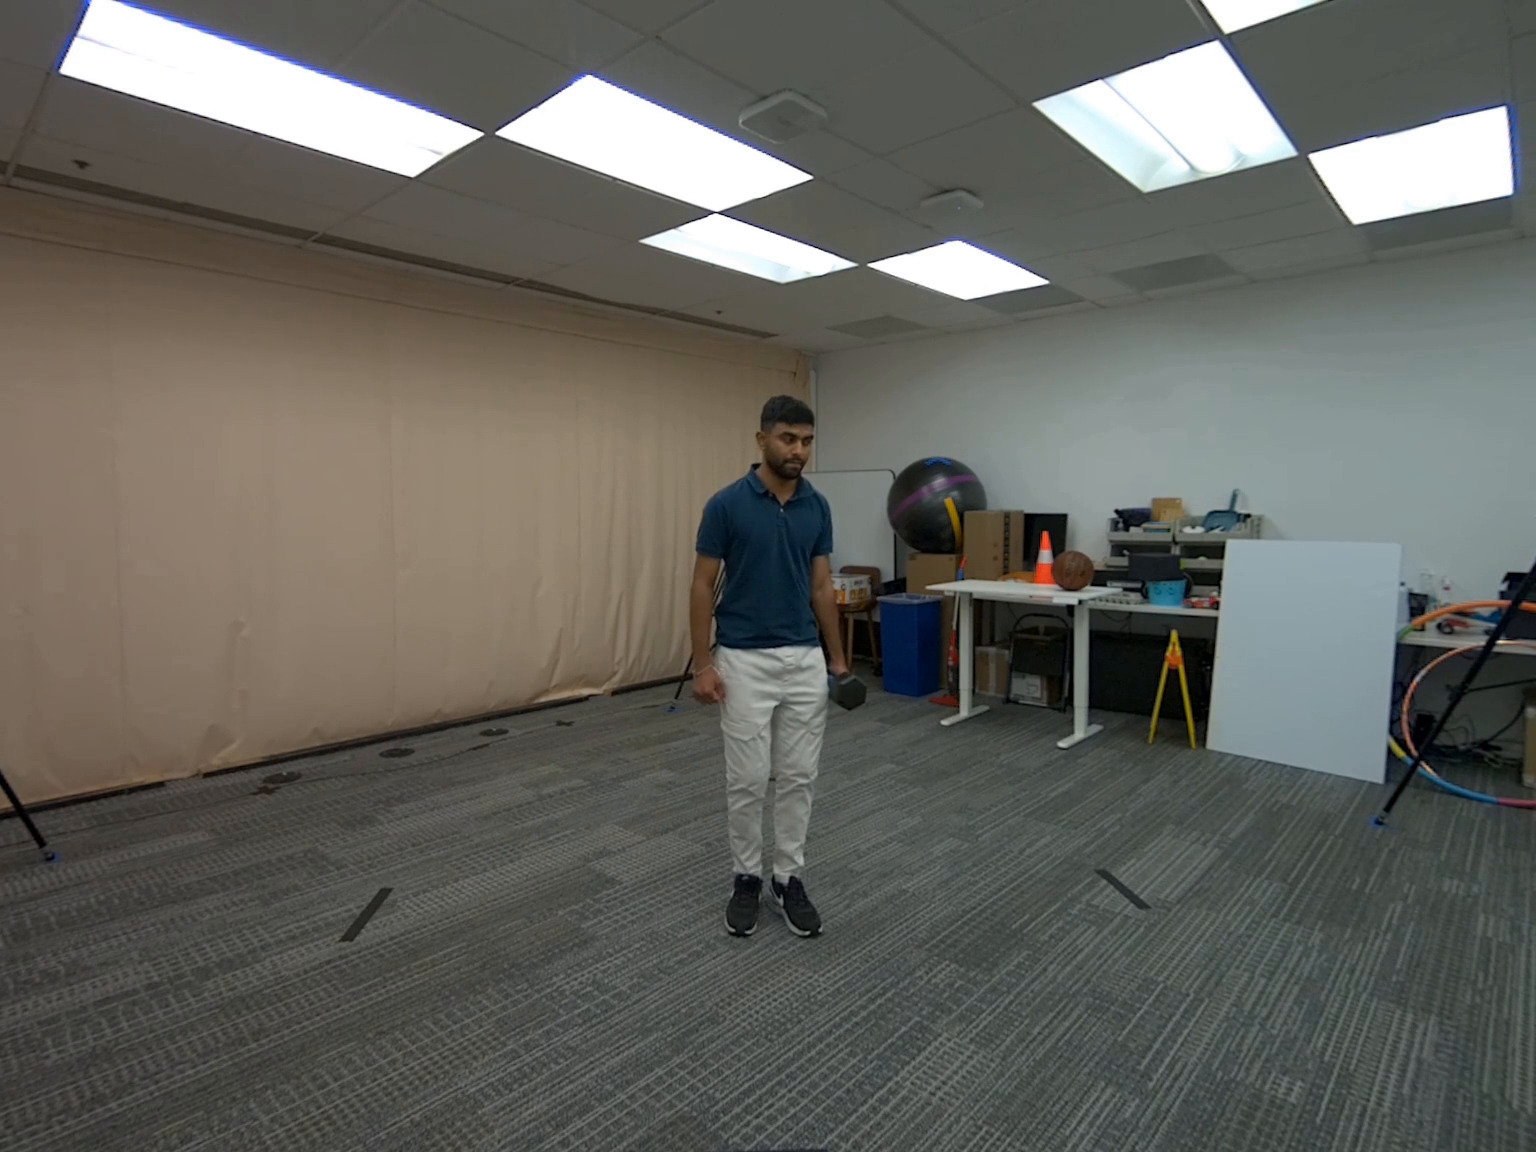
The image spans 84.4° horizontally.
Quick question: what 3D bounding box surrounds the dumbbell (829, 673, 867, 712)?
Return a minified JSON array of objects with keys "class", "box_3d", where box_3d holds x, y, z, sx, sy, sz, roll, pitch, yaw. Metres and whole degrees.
[{"class":"dumbbell","box_3d":[0.223,0.373,2.877,0.106,0.123,0.300,5,0,-23]}]
